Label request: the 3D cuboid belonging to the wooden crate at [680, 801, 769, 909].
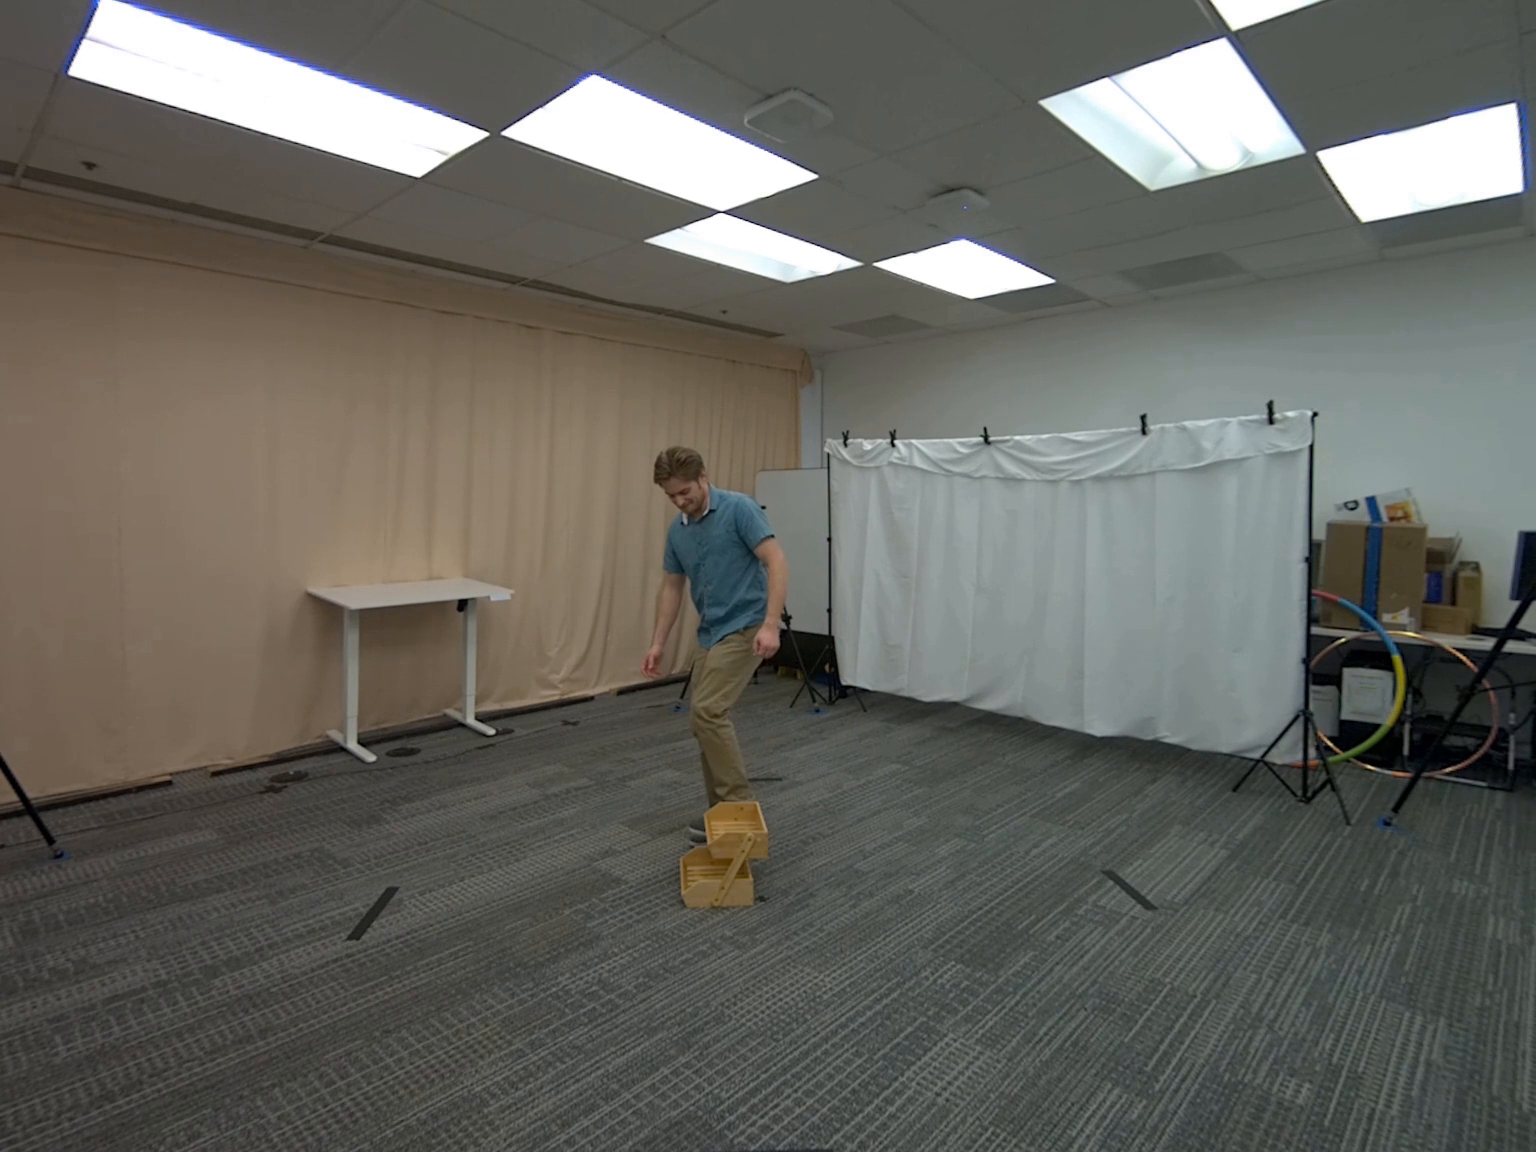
[{"bbox_3d":[-0.178,1.001,3.071,0.300,0.273,0.327,-1,4,-5],"label":"wooden crate"}]
